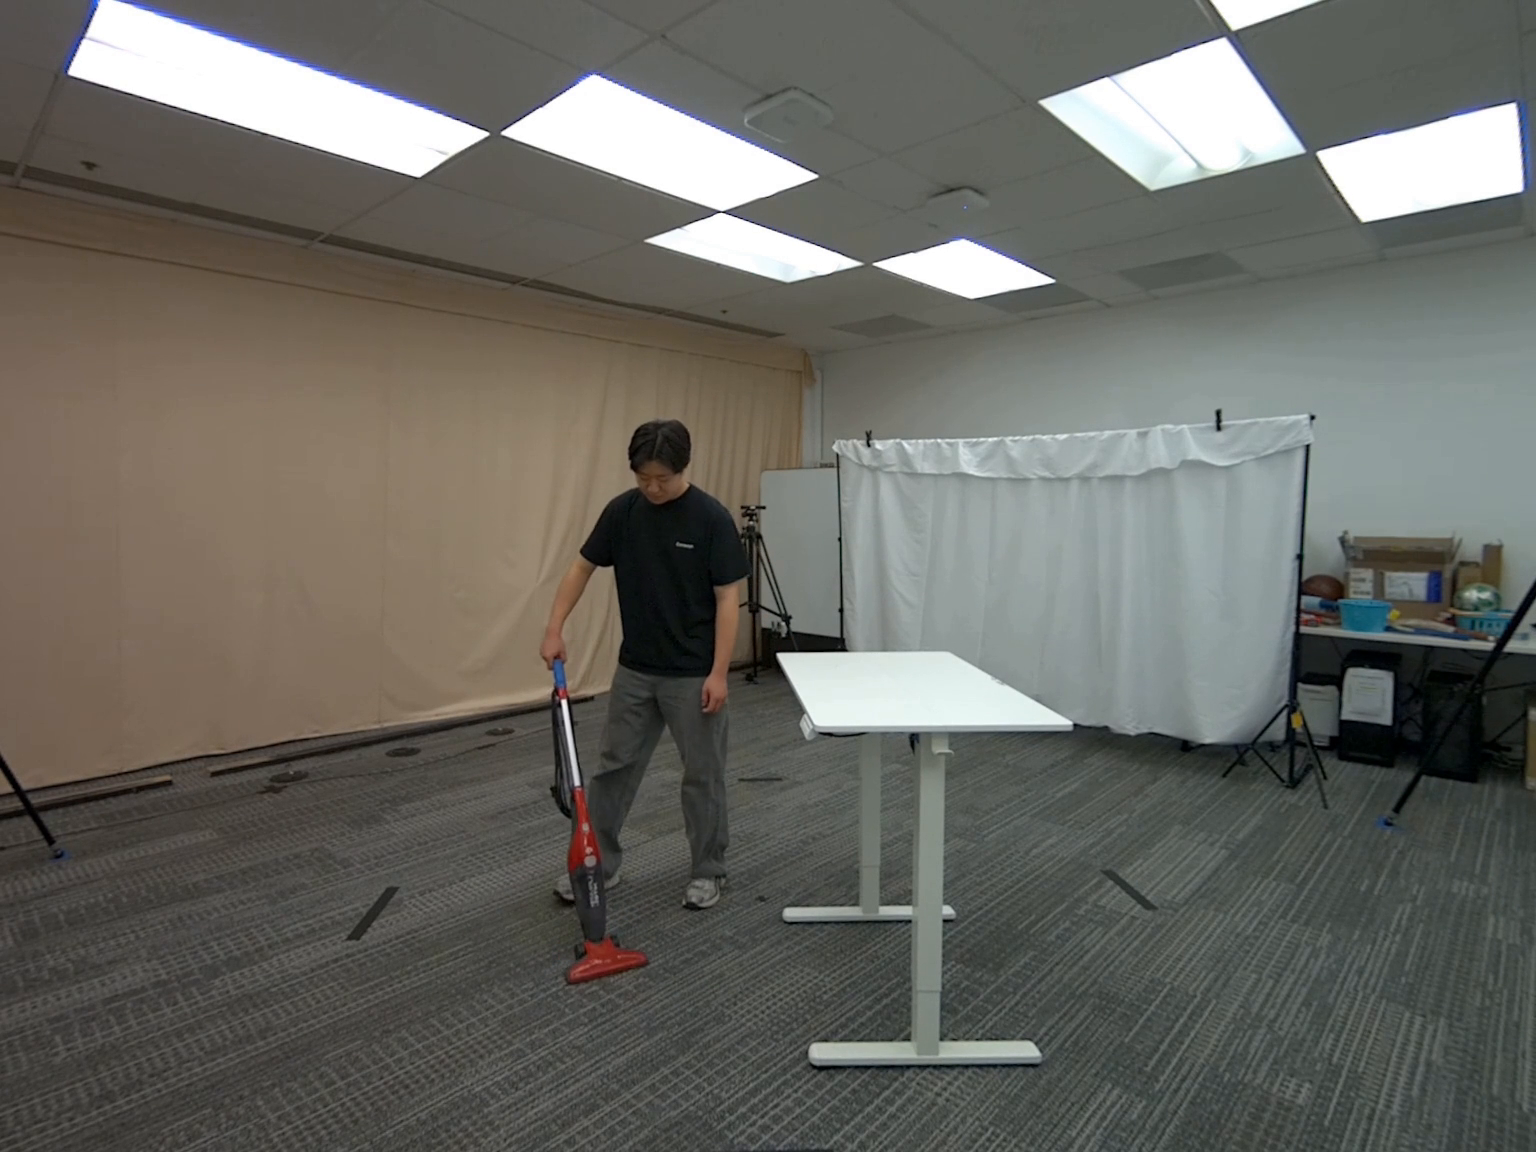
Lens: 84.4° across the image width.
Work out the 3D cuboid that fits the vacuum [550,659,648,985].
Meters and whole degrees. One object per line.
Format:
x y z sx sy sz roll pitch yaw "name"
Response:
-0.632 0.715 2.771 0.246 1.071 0.145 -4 -27 -28 "vacuum"
